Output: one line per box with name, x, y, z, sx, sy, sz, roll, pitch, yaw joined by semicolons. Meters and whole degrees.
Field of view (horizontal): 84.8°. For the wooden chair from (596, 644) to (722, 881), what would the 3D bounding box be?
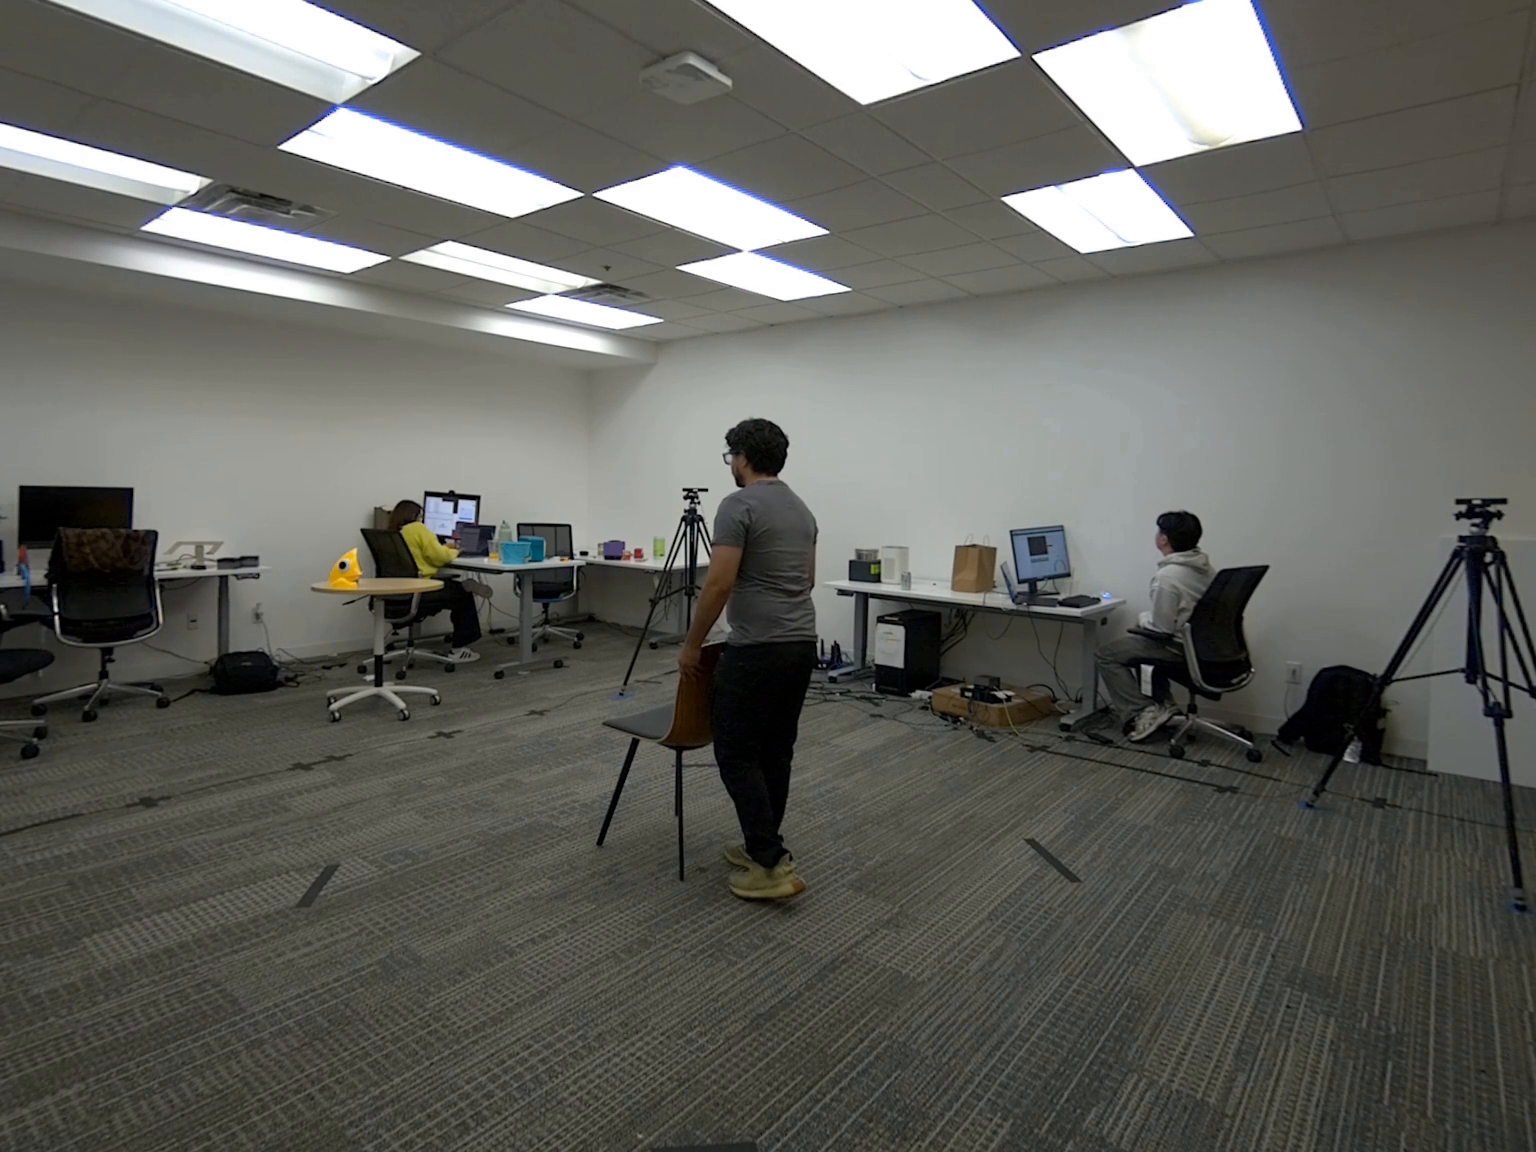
wooden chair;-0.359;0.618;3.299;0.542;0.873;0.464;10;8;38
